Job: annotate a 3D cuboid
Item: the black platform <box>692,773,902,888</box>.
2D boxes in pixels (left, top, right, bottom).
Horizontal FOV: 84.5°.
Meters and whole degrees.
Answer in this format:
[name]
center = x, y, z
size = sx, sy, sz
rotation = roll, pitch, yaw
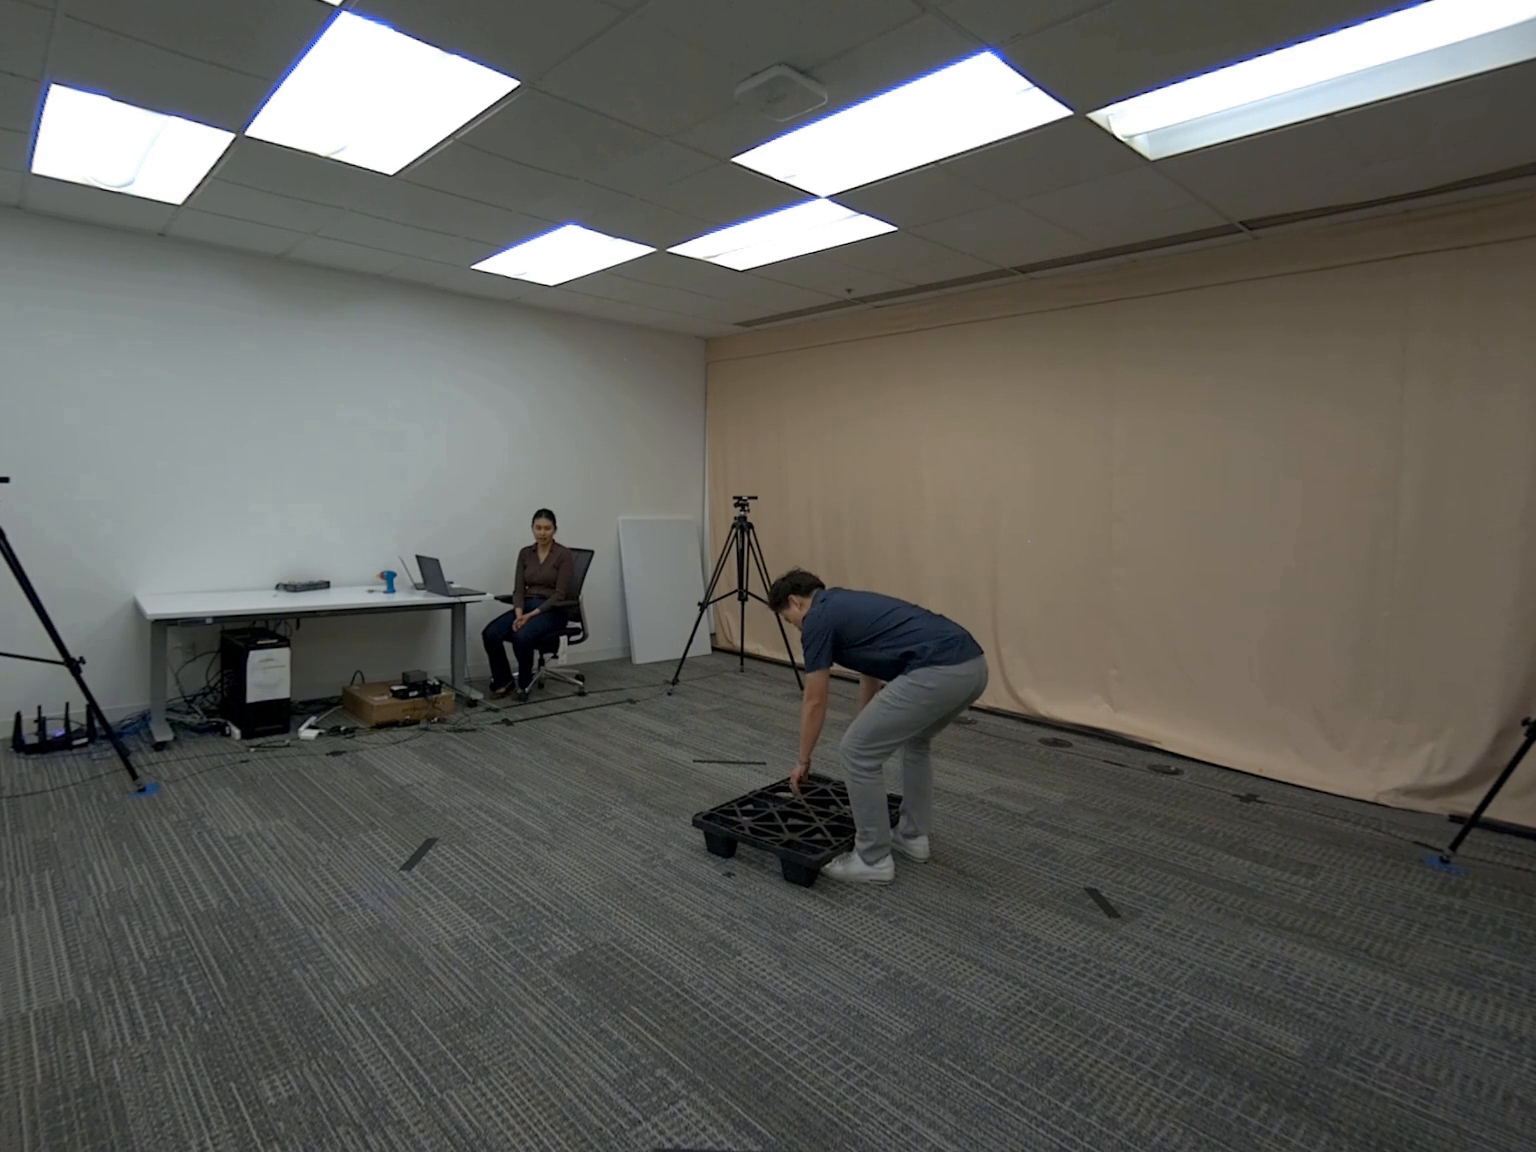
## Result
[black platform]
center = 0.164, 1.015, 3.431
size = 0.620, 0.143, 0.788
rotation = 6, 6, 37
